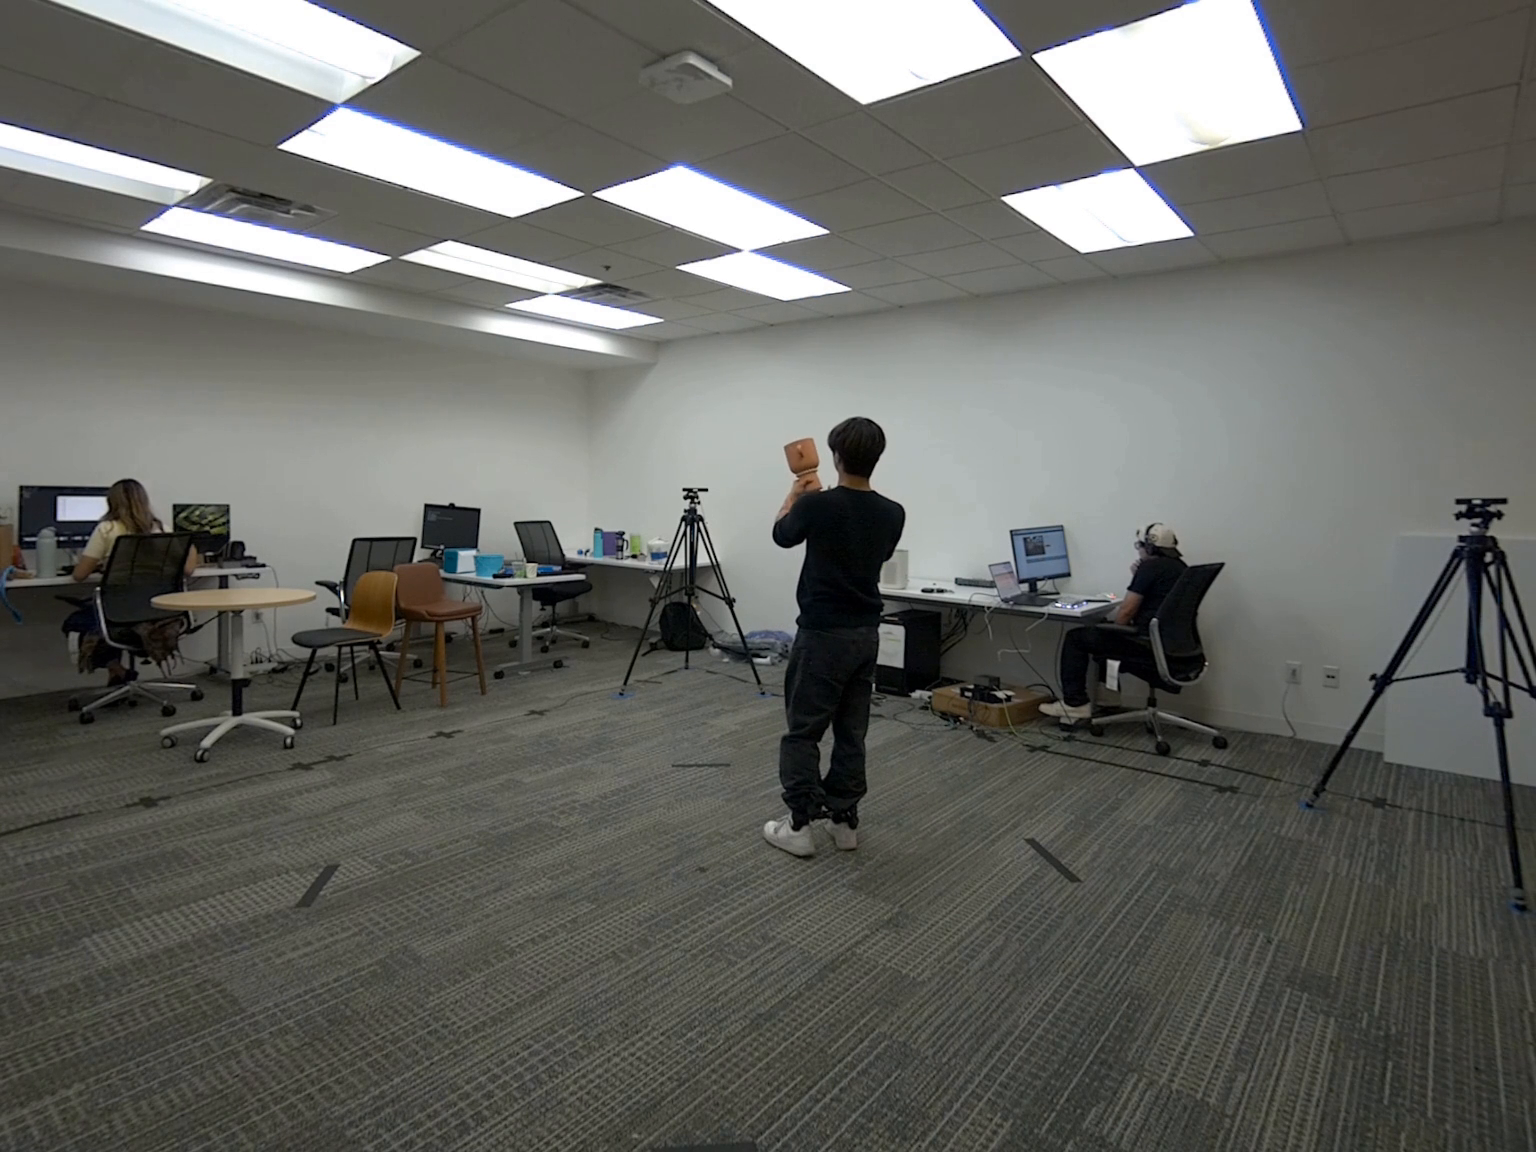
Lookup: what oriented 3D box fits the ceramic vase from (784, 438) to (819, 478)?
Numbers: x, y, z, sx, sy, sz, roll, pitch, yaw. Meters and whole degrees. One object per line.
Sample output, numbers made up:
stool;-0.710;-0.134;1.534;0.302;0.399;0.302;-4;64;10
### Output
ceramic vase;0.152;-0.476;3.664;0.155;0.221;0.137;-12;-6;-45
